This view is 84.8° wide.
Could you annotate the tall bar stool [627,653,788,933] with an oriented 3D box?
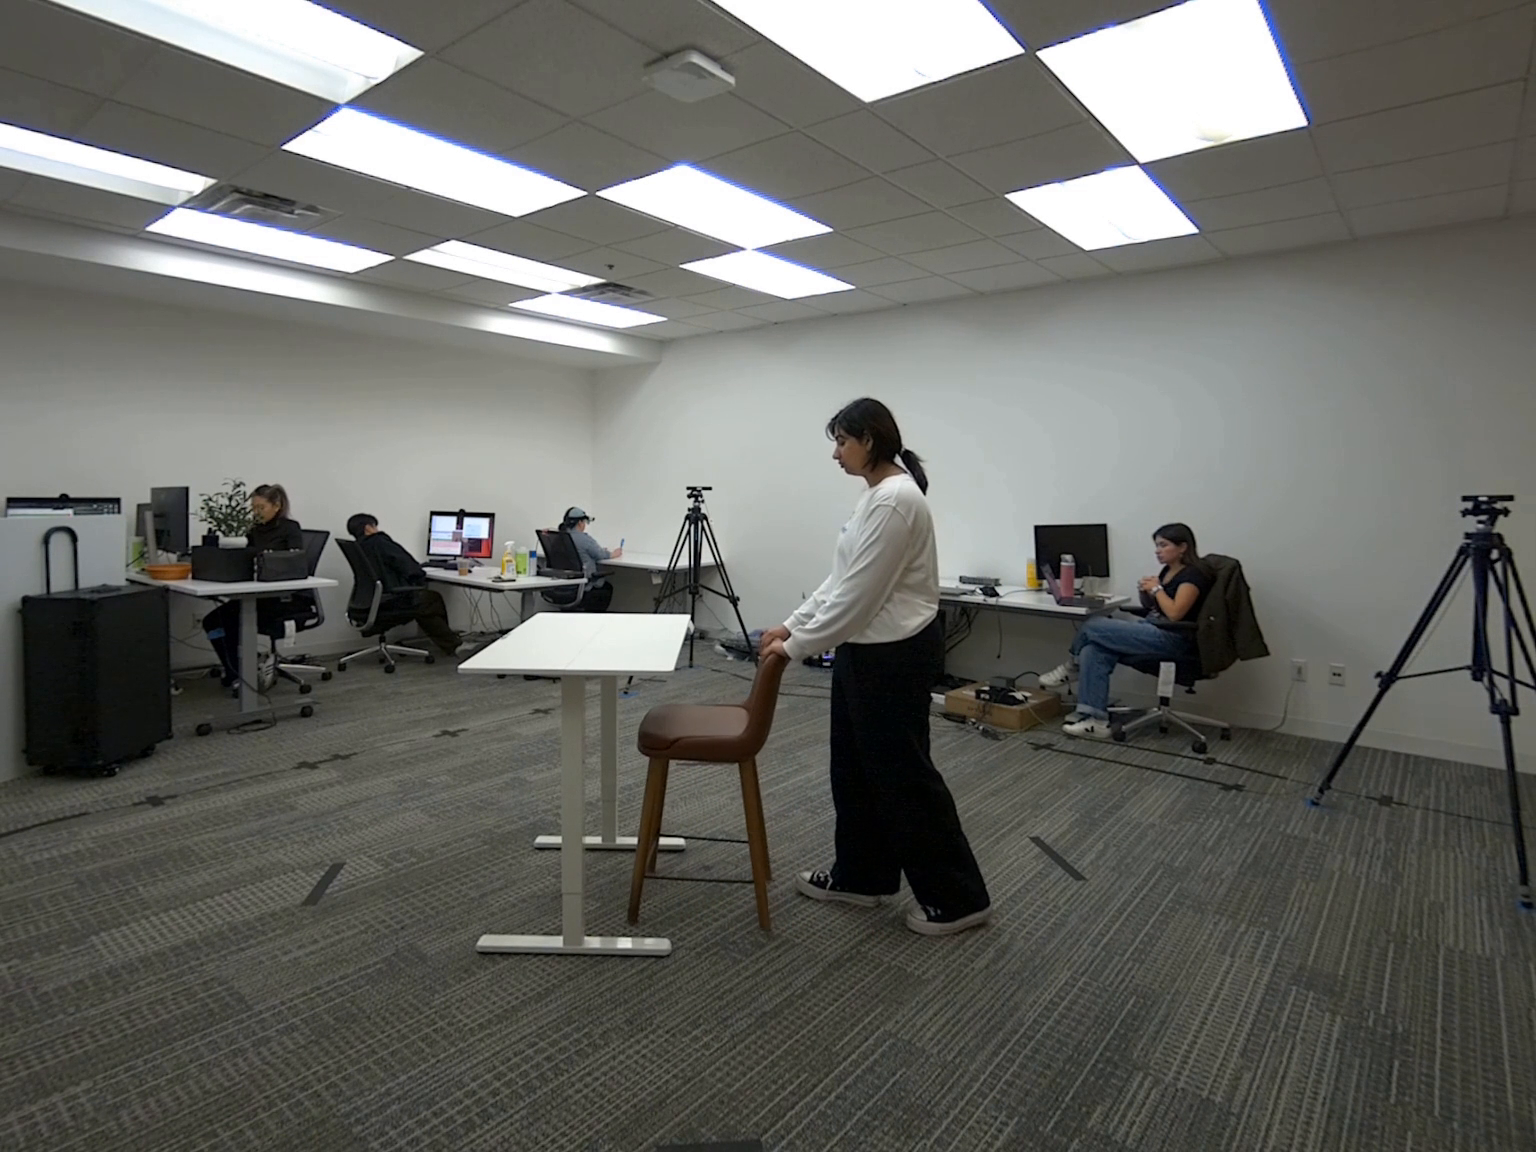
[{"bbox_3d":[-0.195,0.657,2.852,0.470,0.888,0.455,4,3,3],"label":"tall bar stool"}]
